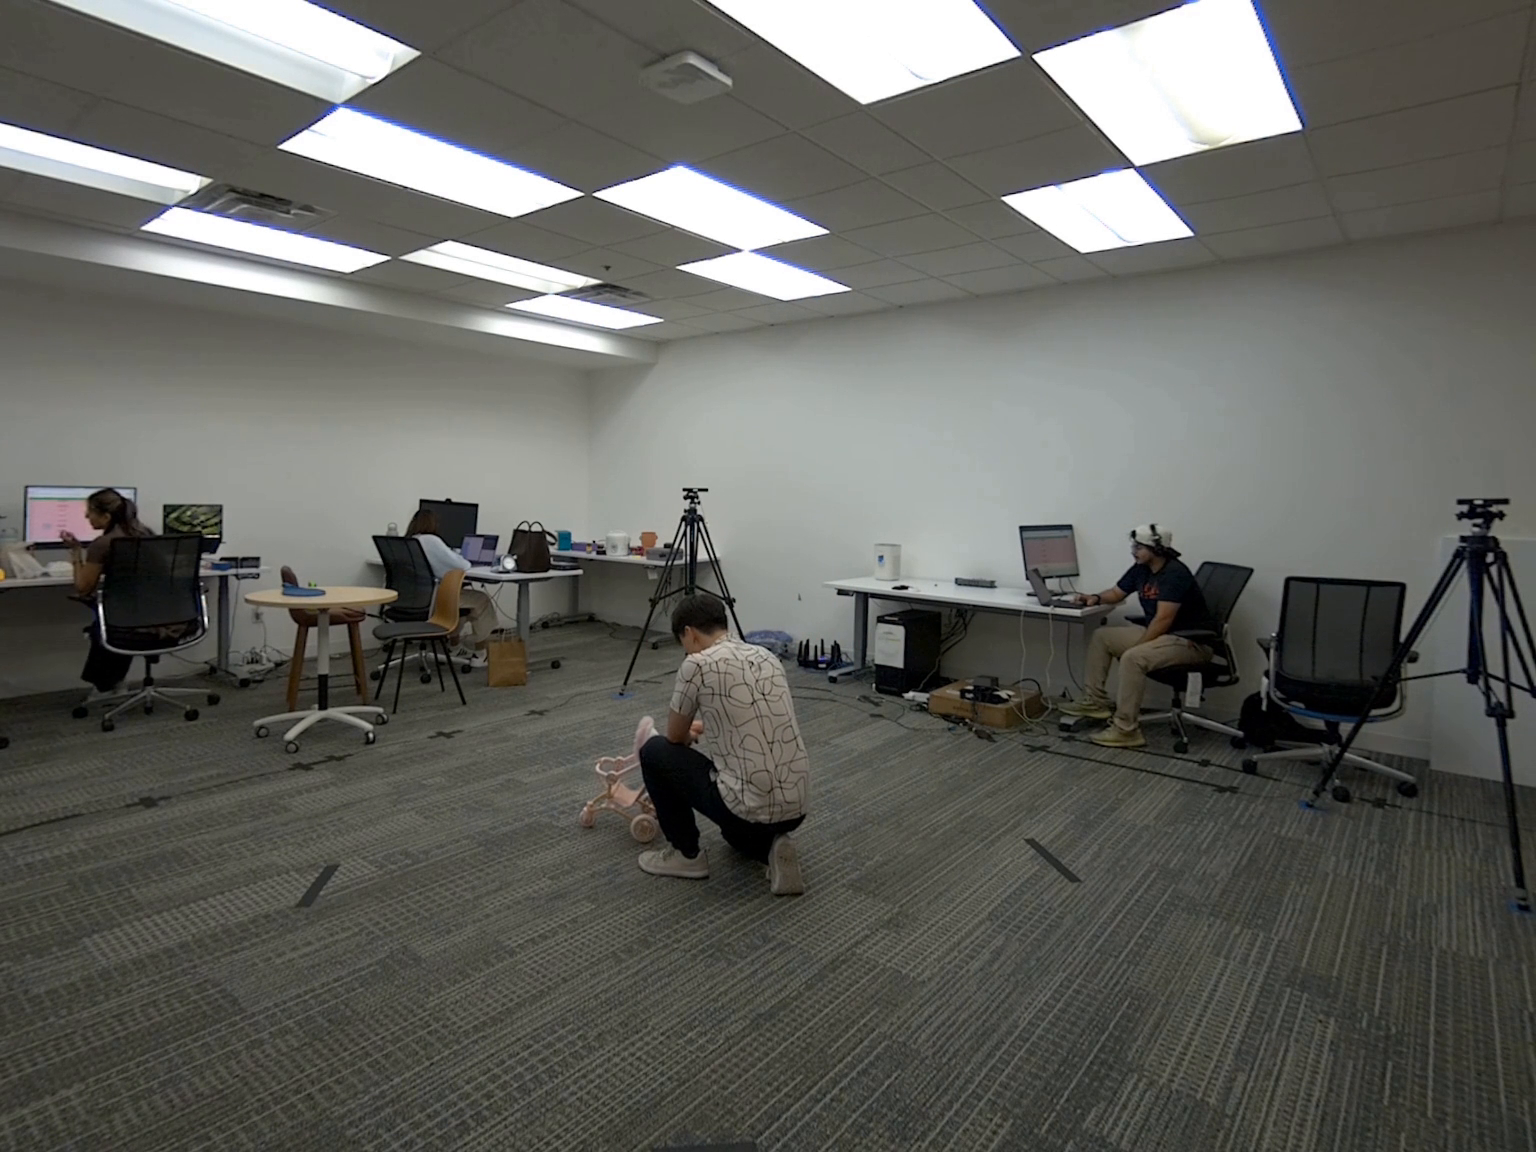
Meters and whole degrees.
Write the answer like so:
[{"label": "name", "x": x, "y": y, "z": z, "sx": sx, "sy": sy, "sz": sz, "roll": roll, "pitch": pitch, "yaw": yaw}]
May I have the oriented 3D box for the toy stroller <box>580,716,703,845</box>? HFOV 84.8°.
[{"label": "toy stroller", "x": -0.555, "y": 0.809, "z": 3.464, "sx": 0.345, "sy": 0.534, "sz": 0.279, "roll": 19, "pitch": 4, "yaw": 6}]
